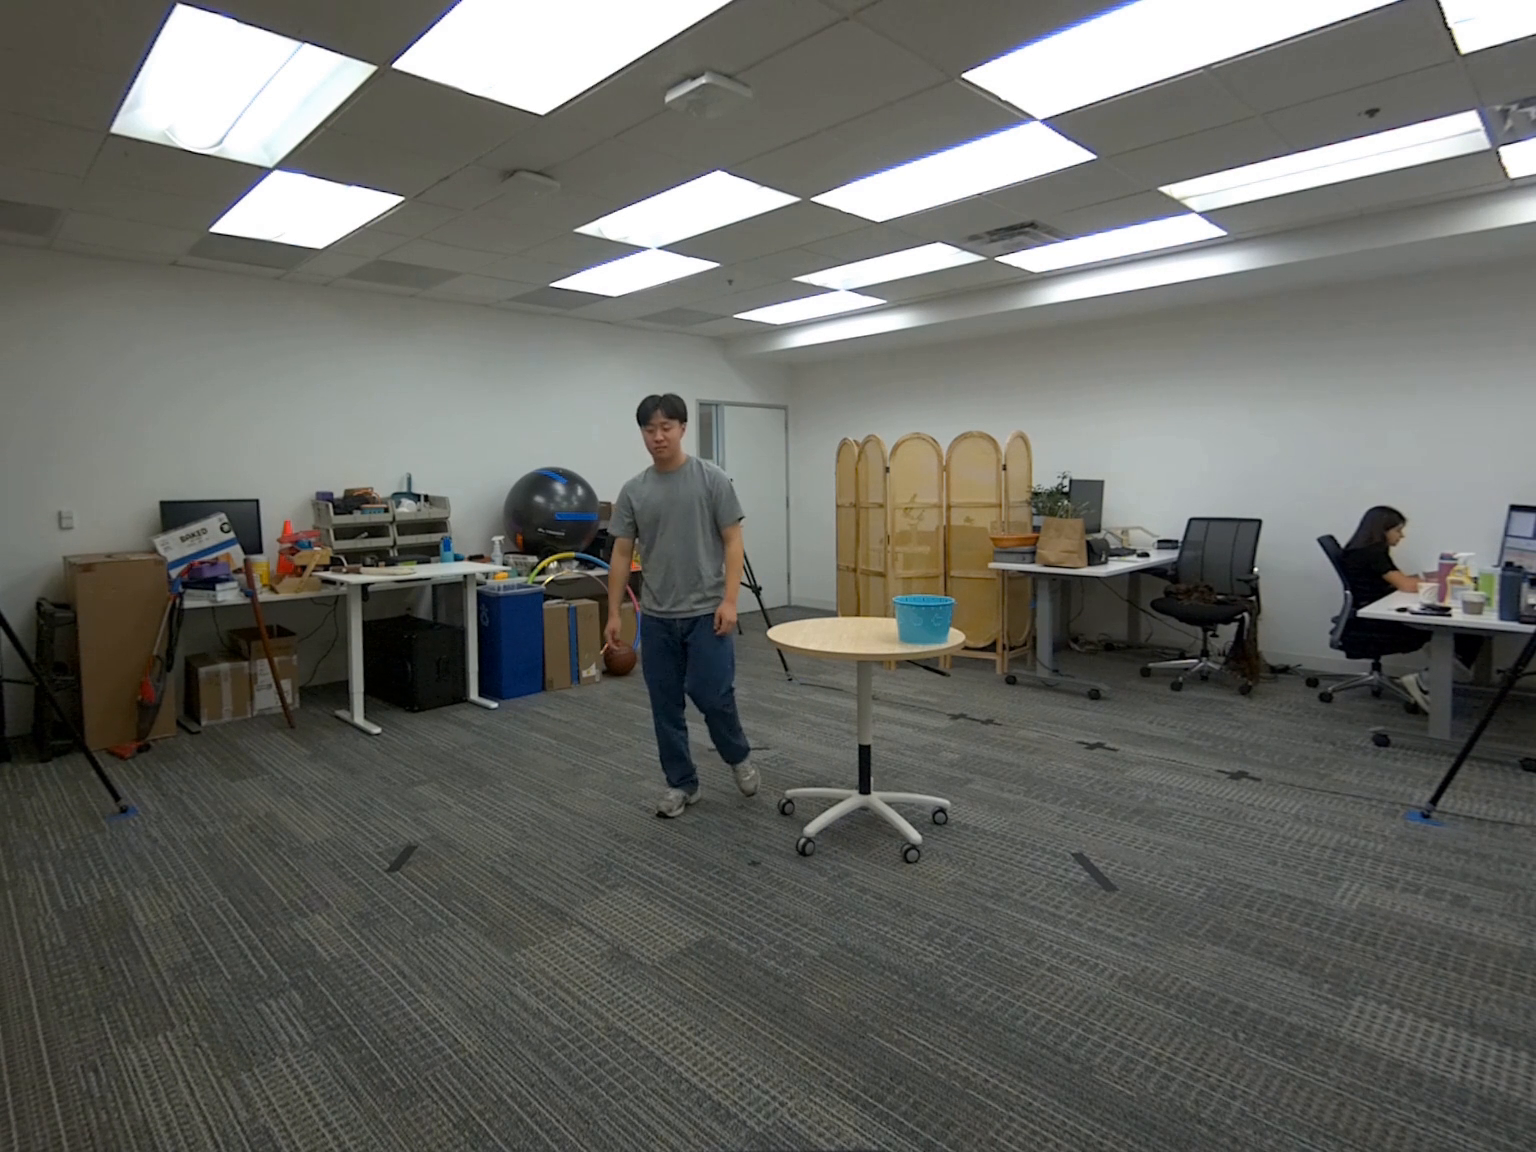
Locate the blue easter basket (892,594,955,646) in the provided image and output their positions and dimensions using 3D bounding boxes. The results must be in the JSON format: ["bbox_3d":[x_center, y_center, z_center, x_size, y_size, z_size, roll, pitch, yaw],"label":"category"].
[{"bbox_3d":[0.604,0.169,3.217,0.243,0.155,0.245,0,6,-2],"label":"blue easter basket"}]
